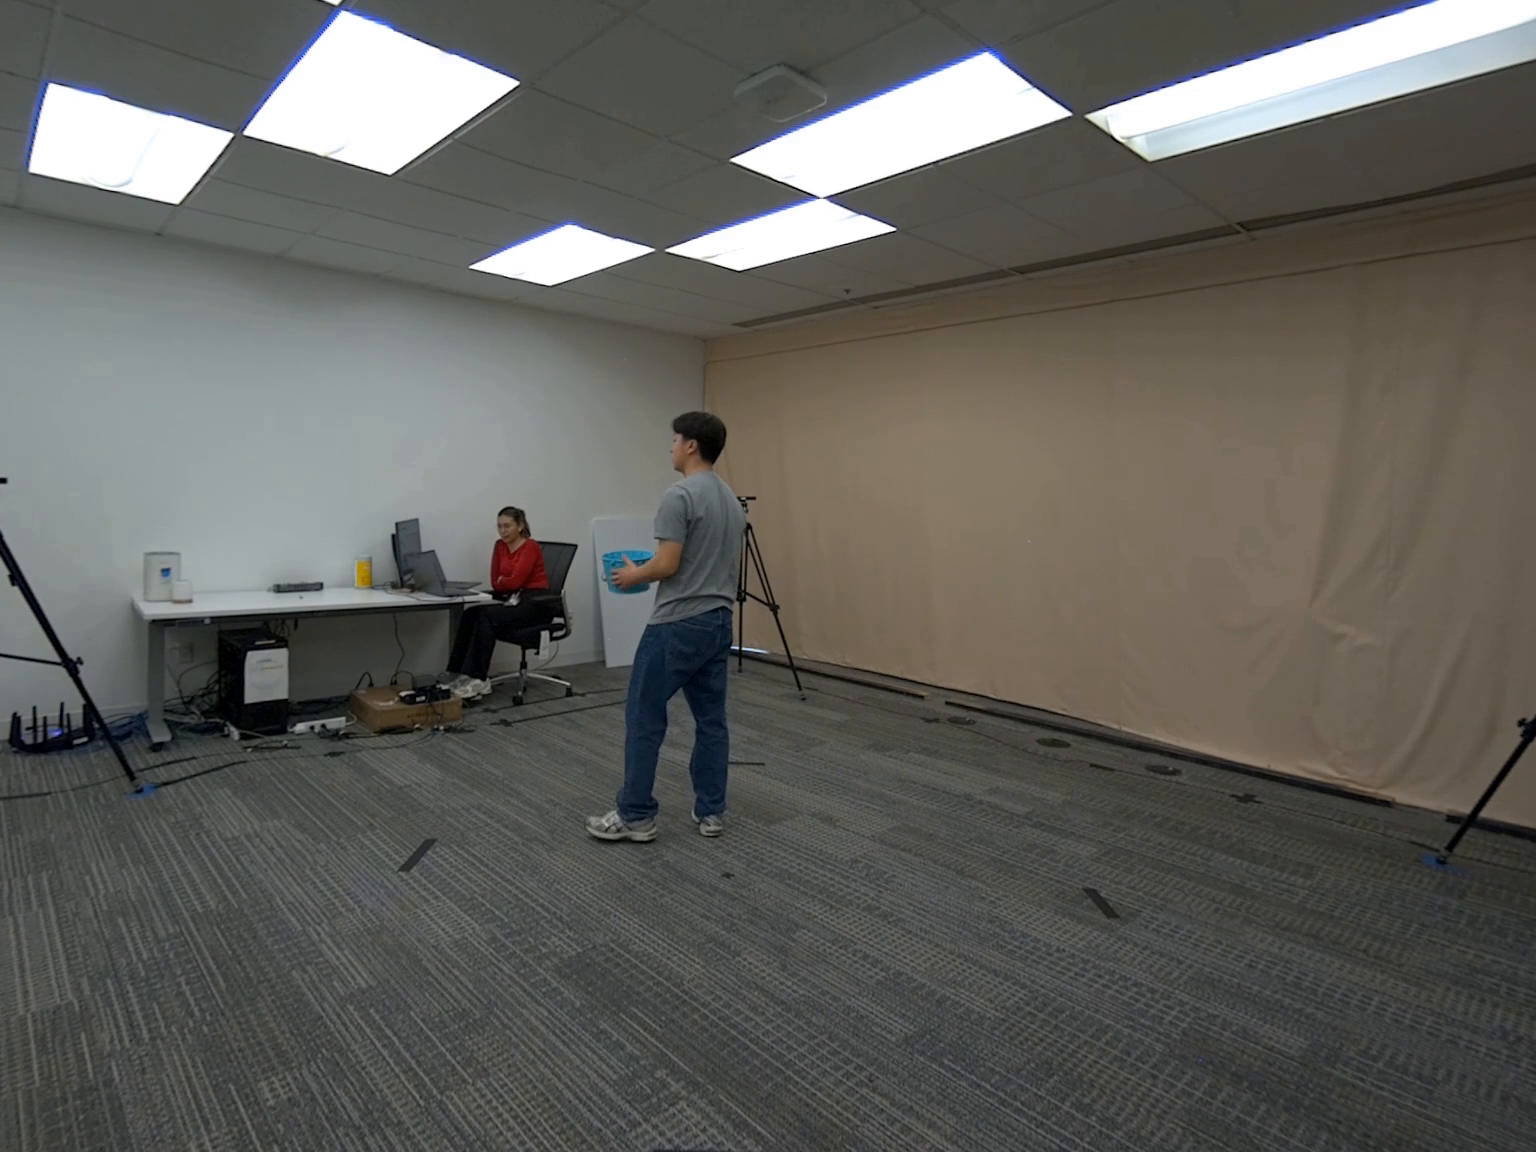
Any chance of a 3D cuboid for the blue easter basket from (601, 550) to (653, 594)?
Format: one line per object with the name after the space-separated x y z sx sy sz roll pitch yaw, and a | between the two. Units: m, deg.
-0.615 -0.025 3.680 0.243 0.155 0.245 -2 10 -1 | blue easter basket
